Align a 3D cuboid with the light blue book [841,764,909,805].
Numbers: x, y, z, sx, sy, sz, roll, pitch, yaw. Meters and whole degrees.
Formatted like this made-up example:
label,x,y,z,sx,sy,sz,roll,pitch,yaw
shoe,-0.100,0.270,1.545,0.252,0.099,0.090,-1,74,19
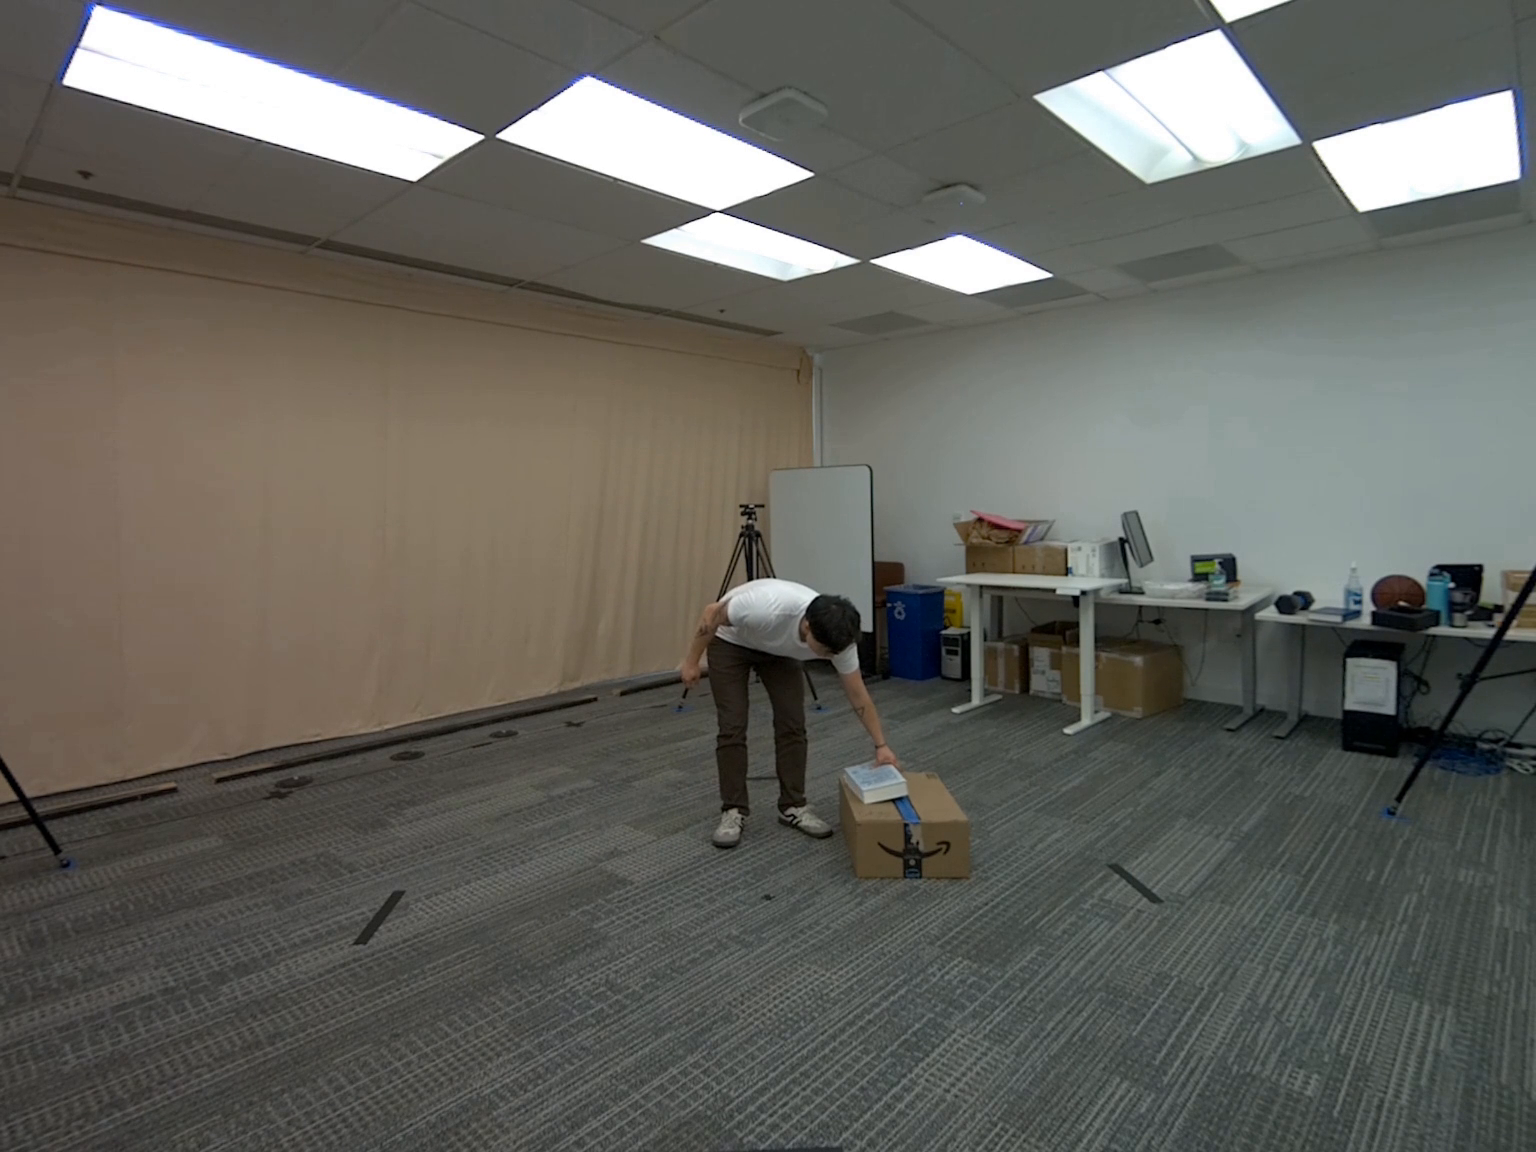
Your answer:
label,x,y,z,sx,sy,sz,roll,pitch,yaw
light blue book,0.445,0.839,3.446,0.190,0.059,0.264,-10,8,-9
